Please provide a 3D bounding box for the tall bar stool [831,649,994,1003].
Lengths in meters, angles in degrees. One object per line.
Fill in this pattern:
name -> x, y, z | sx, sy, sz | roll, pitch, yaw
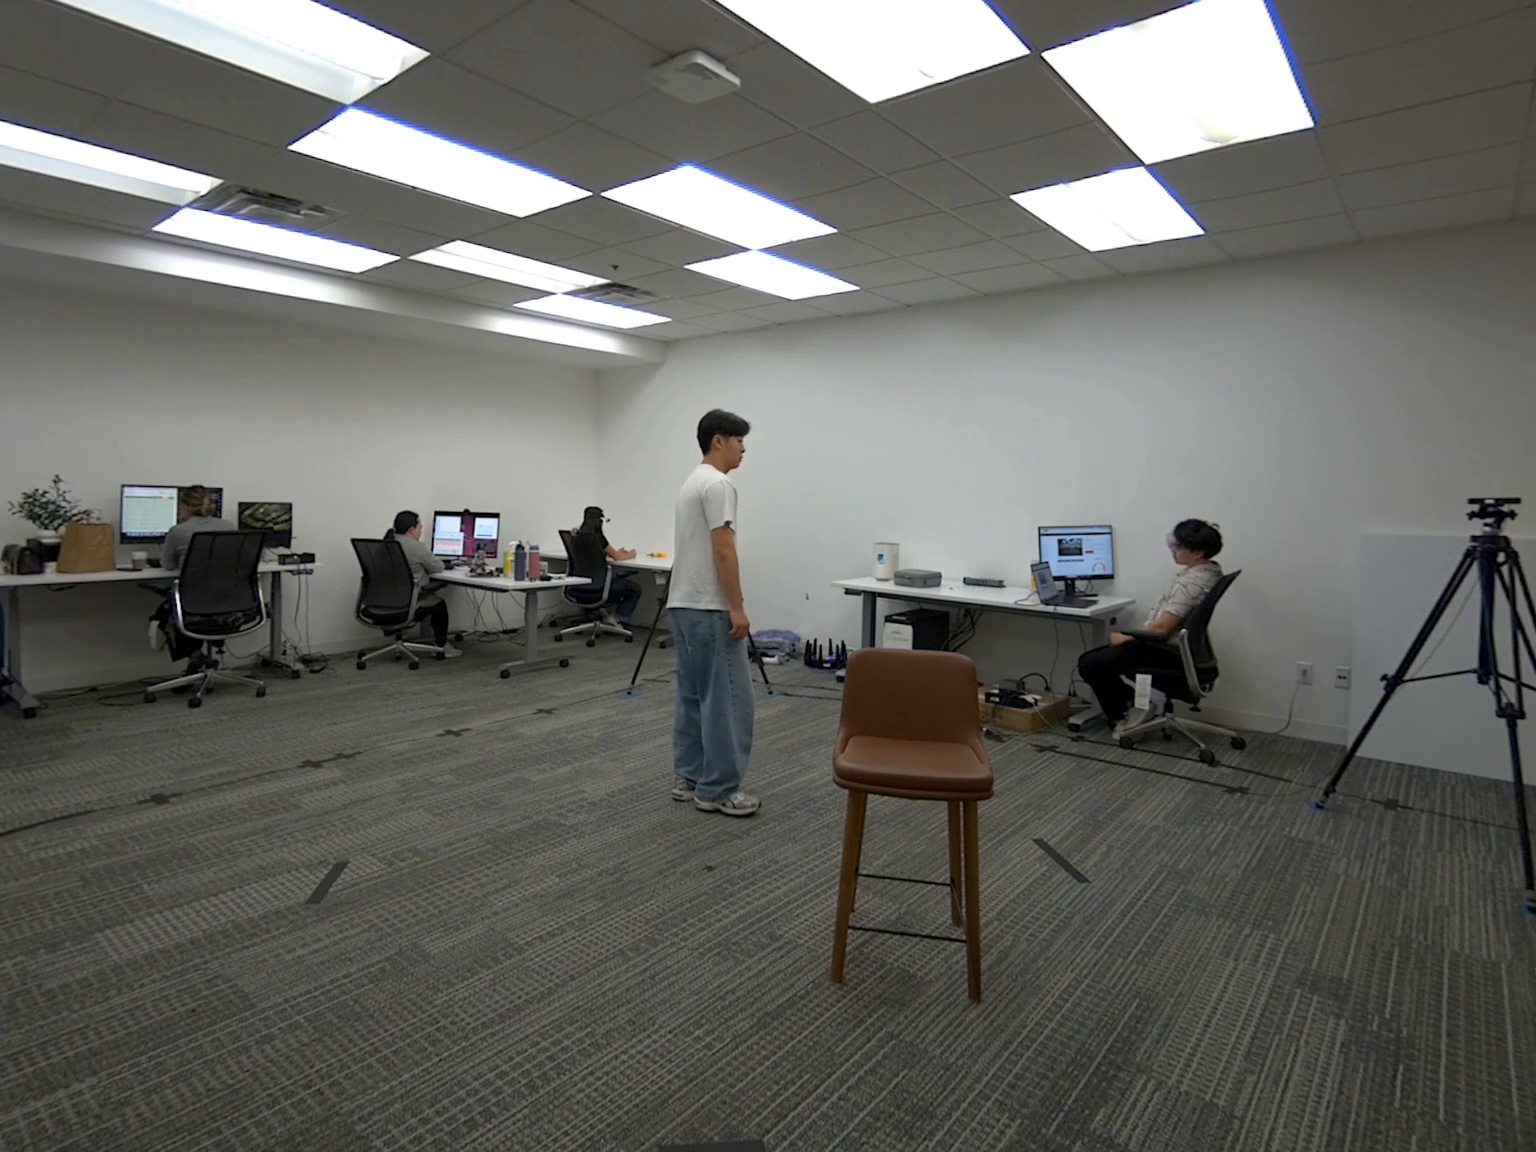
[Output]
tall bar stool -> 0.425, 0.700, 2.567 | 0.463, 0.888, 0.462 | 3, 2, 11
